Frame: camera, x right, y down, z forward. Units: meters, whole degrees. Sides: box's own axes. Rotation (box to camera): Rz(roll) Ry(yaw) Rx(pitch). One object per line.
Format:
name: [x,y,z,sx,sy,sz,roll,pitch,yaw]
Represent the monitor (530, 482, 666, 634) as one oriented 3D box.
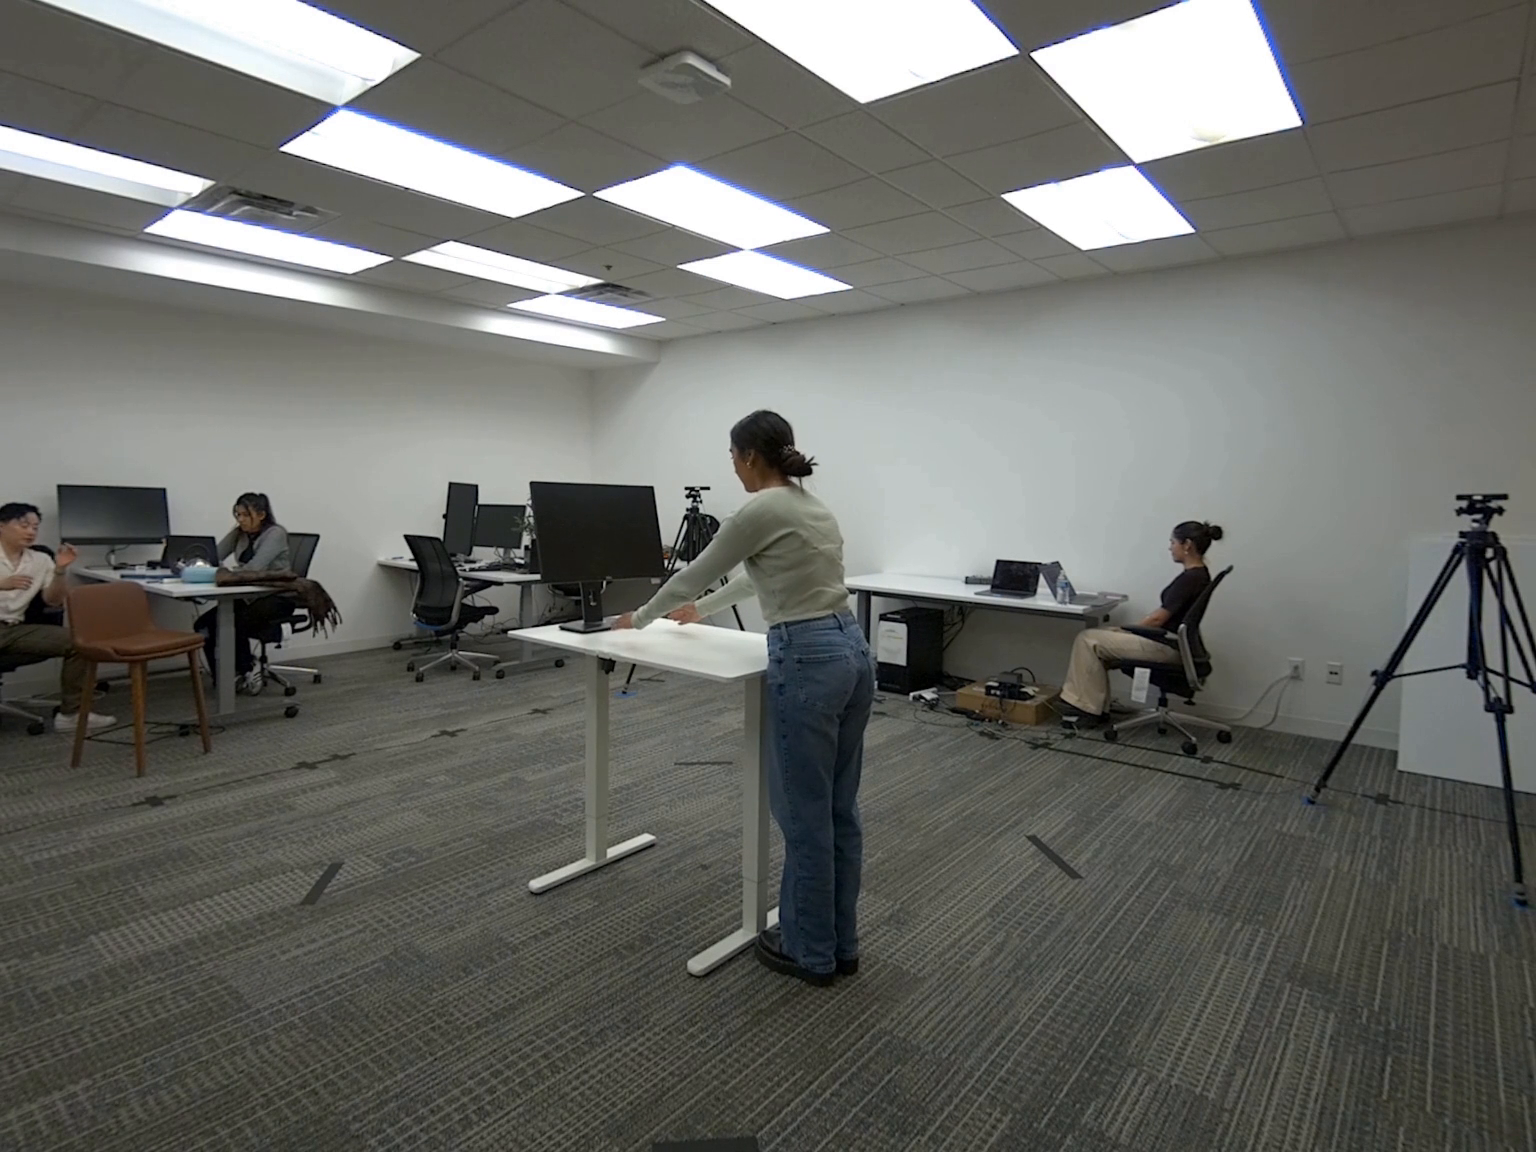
monitor: [-0.638,-0.070,3.048,0.193,0.522,0.523,1,2,42]
